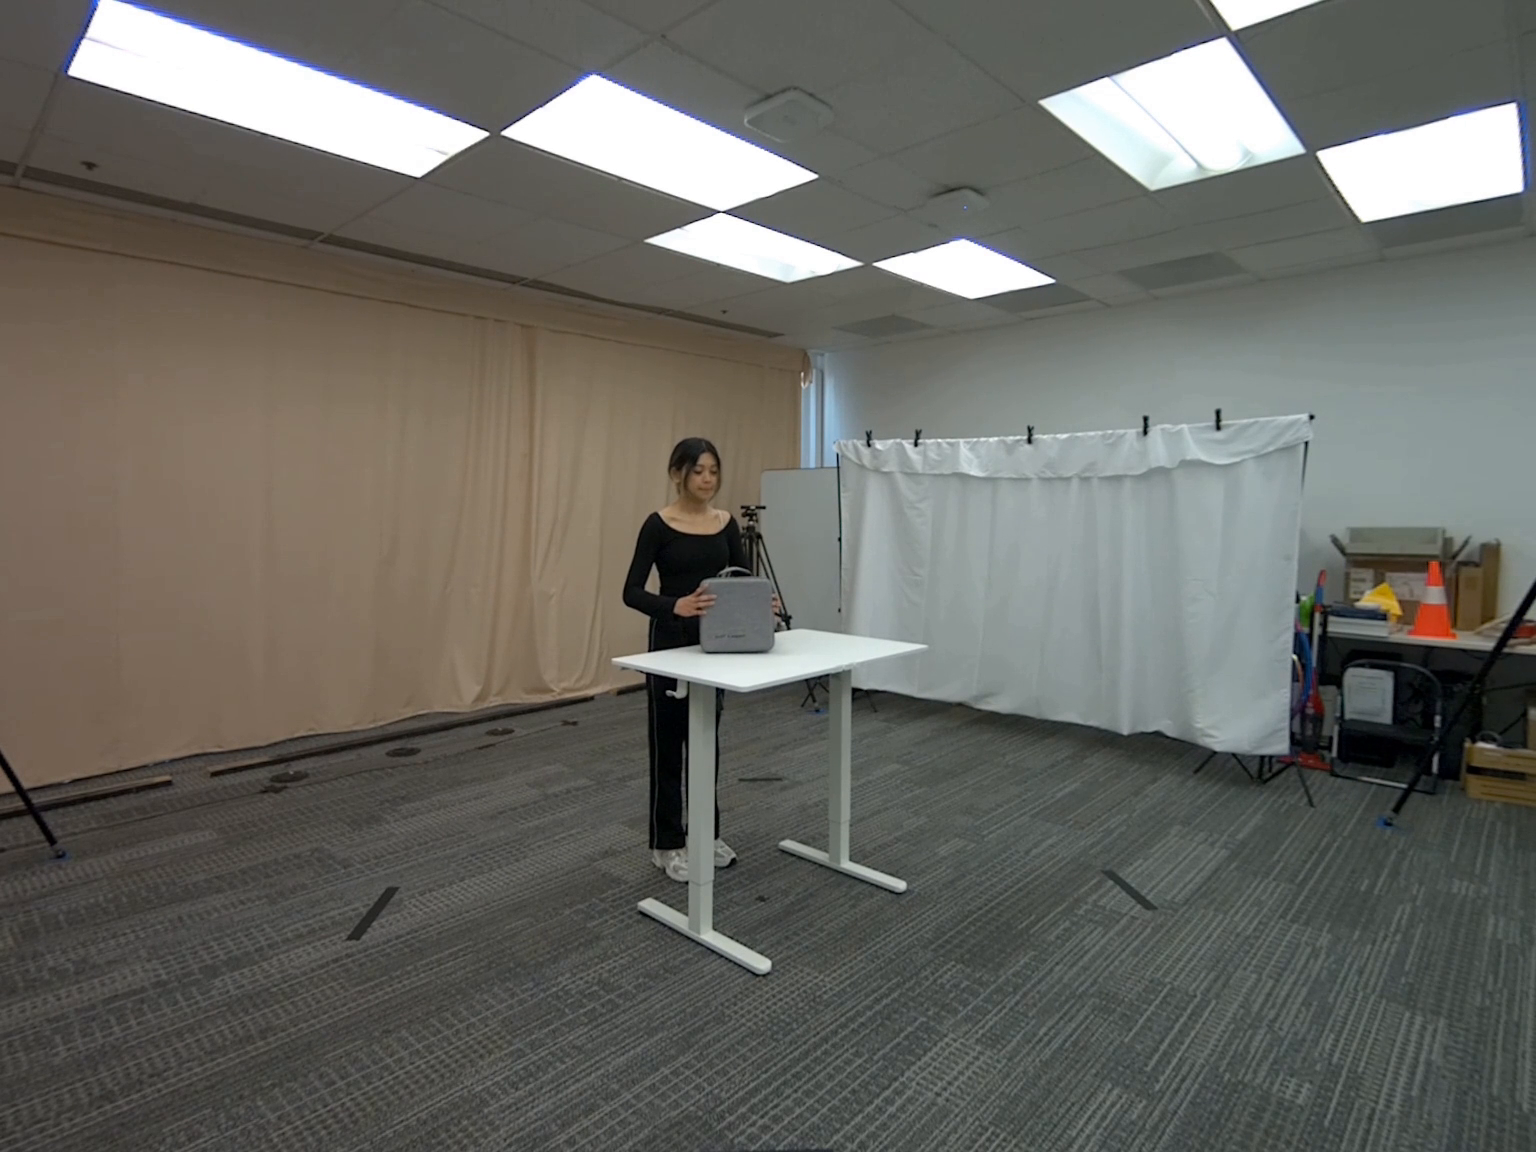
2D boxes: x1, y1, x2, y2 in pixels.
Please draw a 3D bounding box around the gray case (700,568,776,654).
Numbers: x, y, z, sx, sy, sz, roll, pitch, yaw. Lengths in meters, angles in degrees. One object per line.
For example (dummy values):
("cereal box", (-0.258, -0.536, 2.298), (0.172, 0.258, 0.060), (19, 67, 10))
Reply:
("gray case", (-0.112, 0.135, 2.931), (0.256, 0.261, 0.104), (-1, -4, -2))
